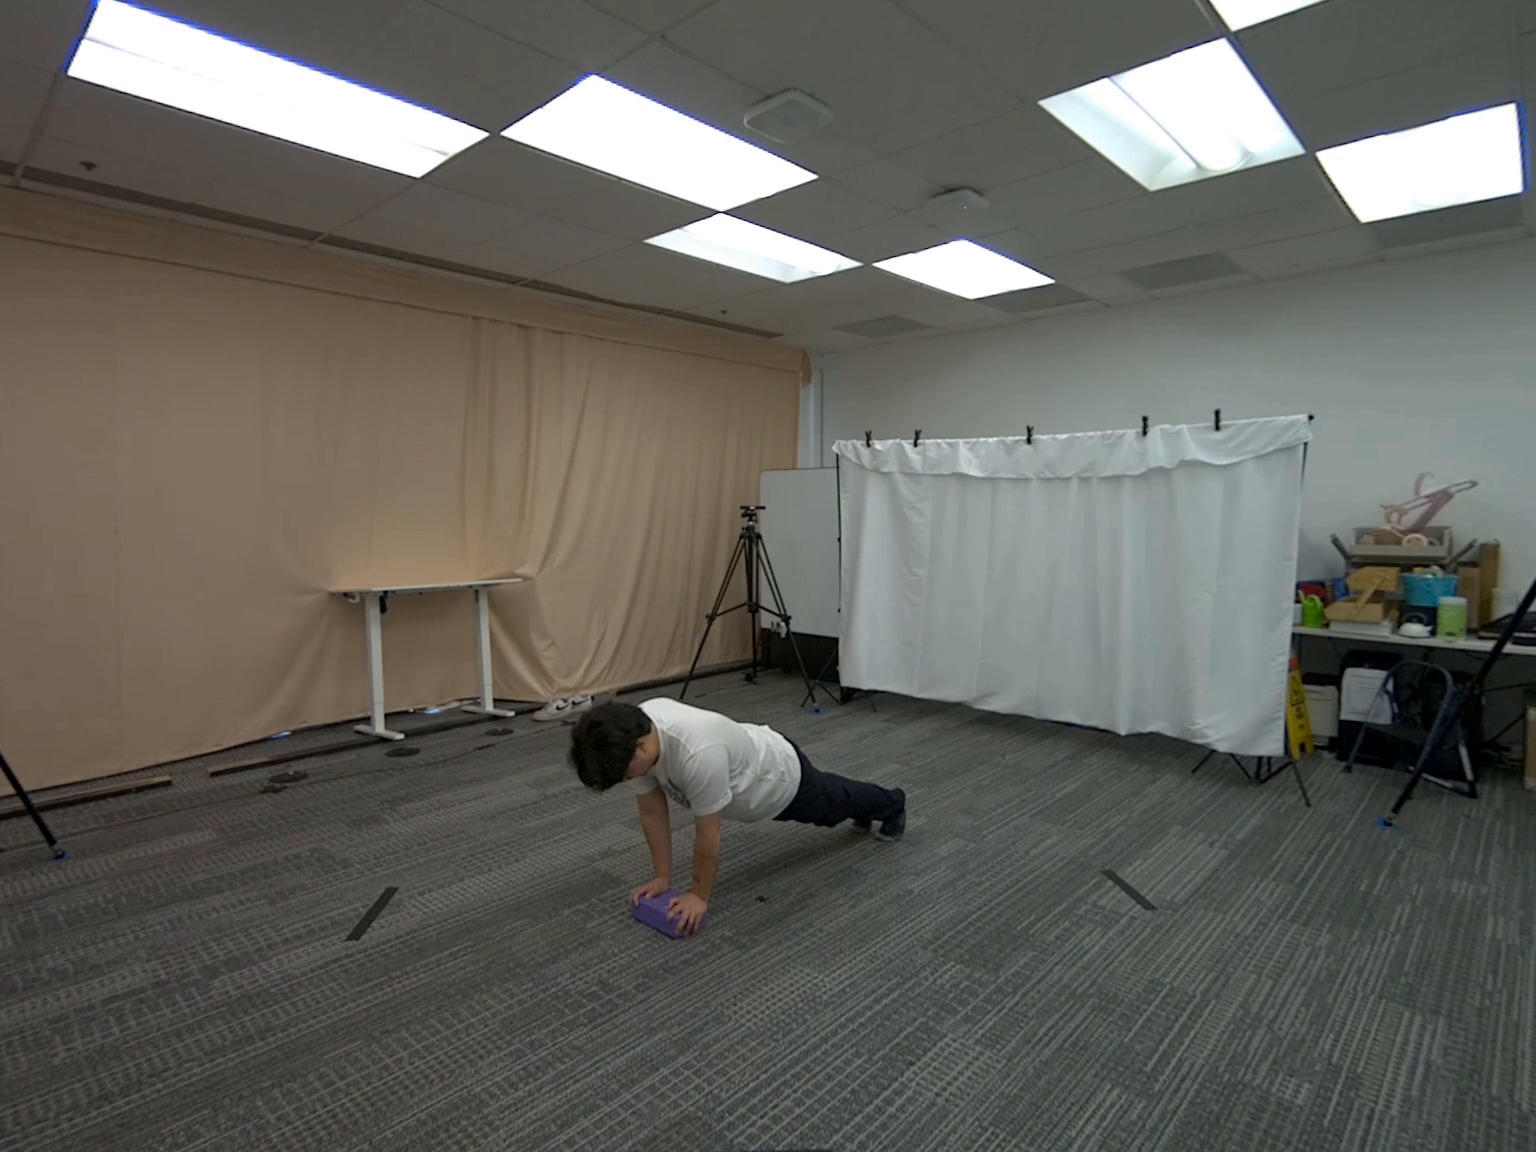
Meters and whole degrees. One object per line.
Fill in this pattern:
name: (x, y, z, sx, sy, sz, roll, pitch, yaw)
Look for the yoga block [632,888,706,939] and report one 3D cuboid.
yoga block: (-0.329, 1.126, 2.825, 0.237, 0.076, 0.144, 4, 7, 42)
